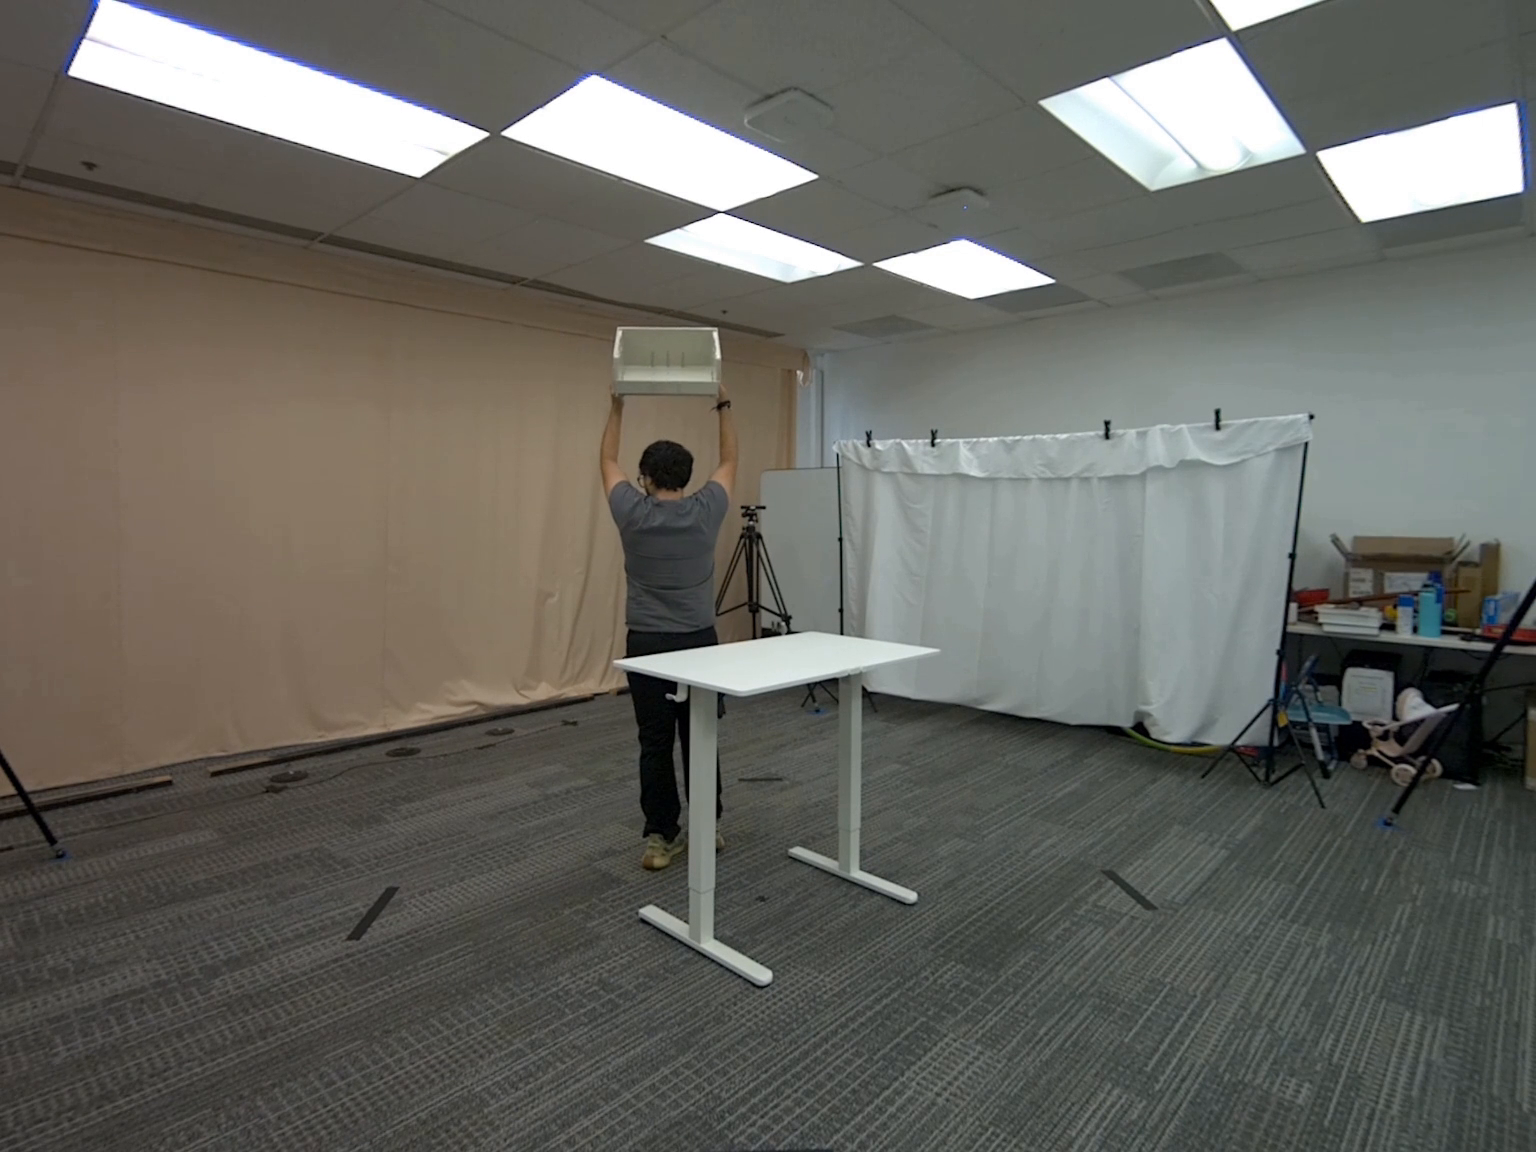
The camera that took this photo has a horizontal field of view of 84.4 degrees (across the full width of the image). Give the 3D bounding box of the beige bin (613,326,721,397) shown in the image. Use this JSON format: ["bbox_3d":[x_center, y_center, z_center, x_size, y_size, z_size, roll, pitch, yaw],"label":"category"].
[{"bbox_3d":[-0.409,-0.869,3.453,0.421,0.186,0.385,-1,34,-4],"label":"beige bin"}]
